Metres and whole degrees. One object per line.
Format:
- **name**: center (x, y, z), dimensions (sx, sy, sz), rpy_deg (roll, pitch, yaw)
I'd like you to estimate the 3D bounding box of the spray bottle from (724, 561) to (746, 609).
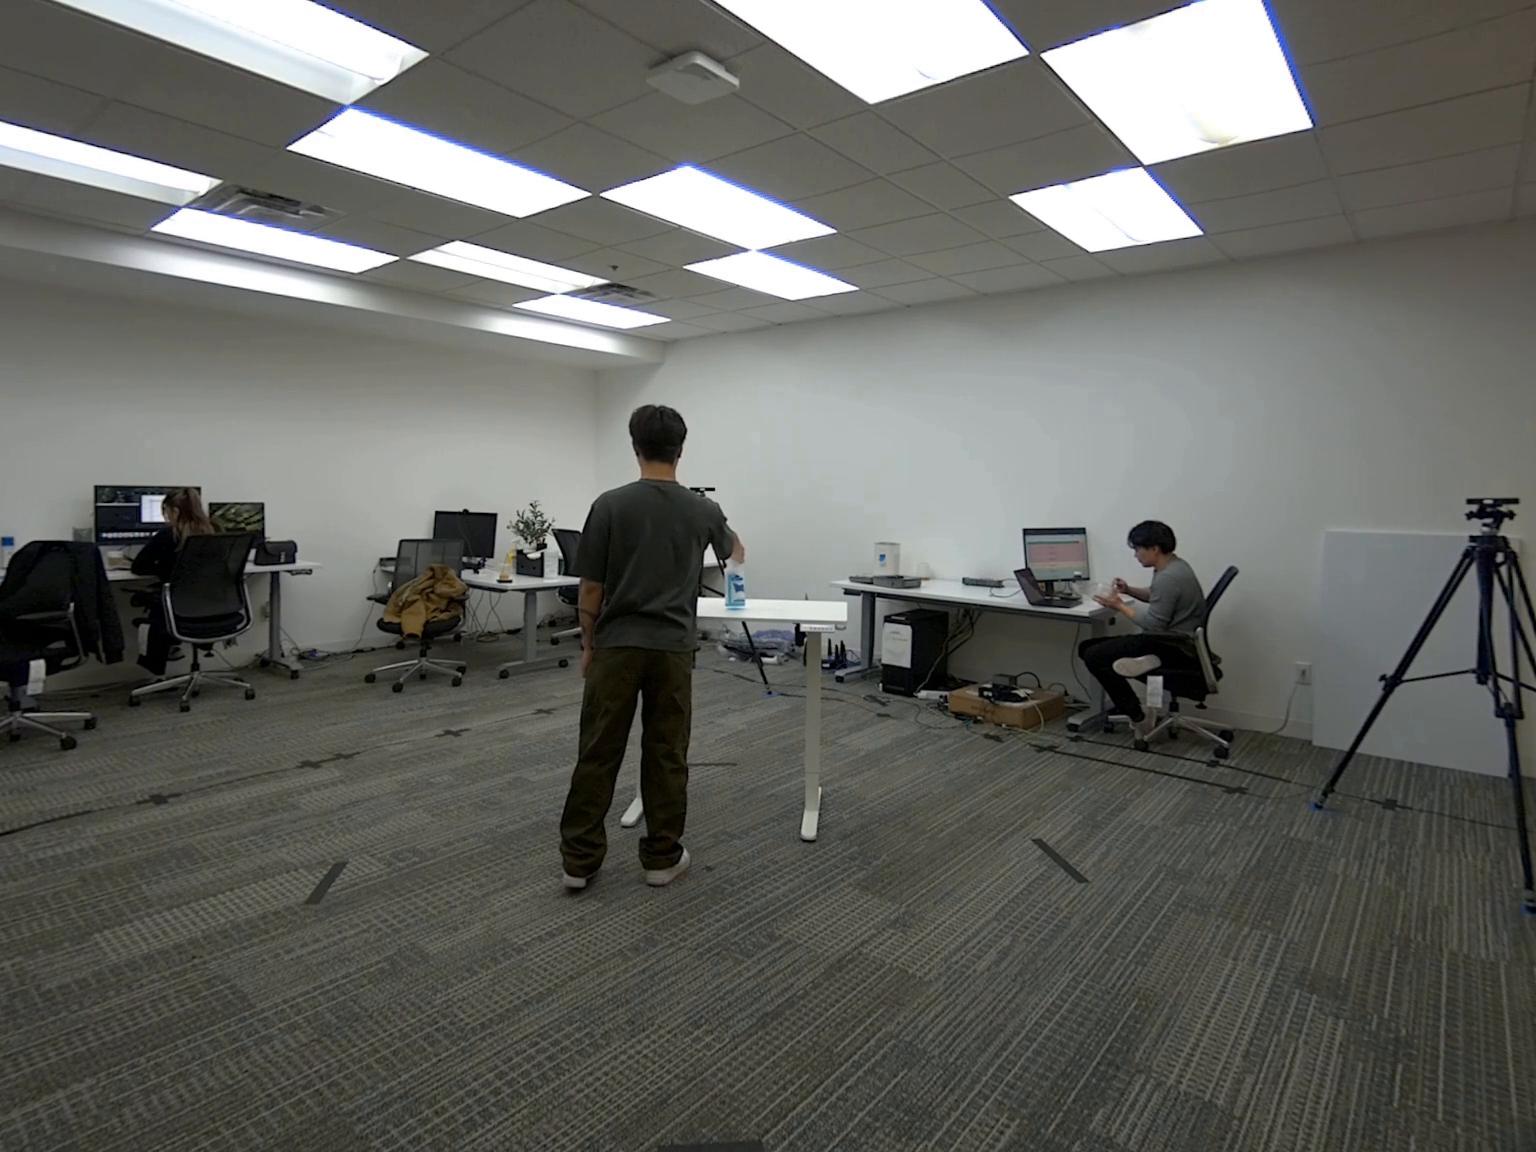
- **spray bottle**: center (-0.156, -0.020, 3.618), dimensions (0.089, 0.299, 0.087), rpy_deg (-5, -7, 29)
